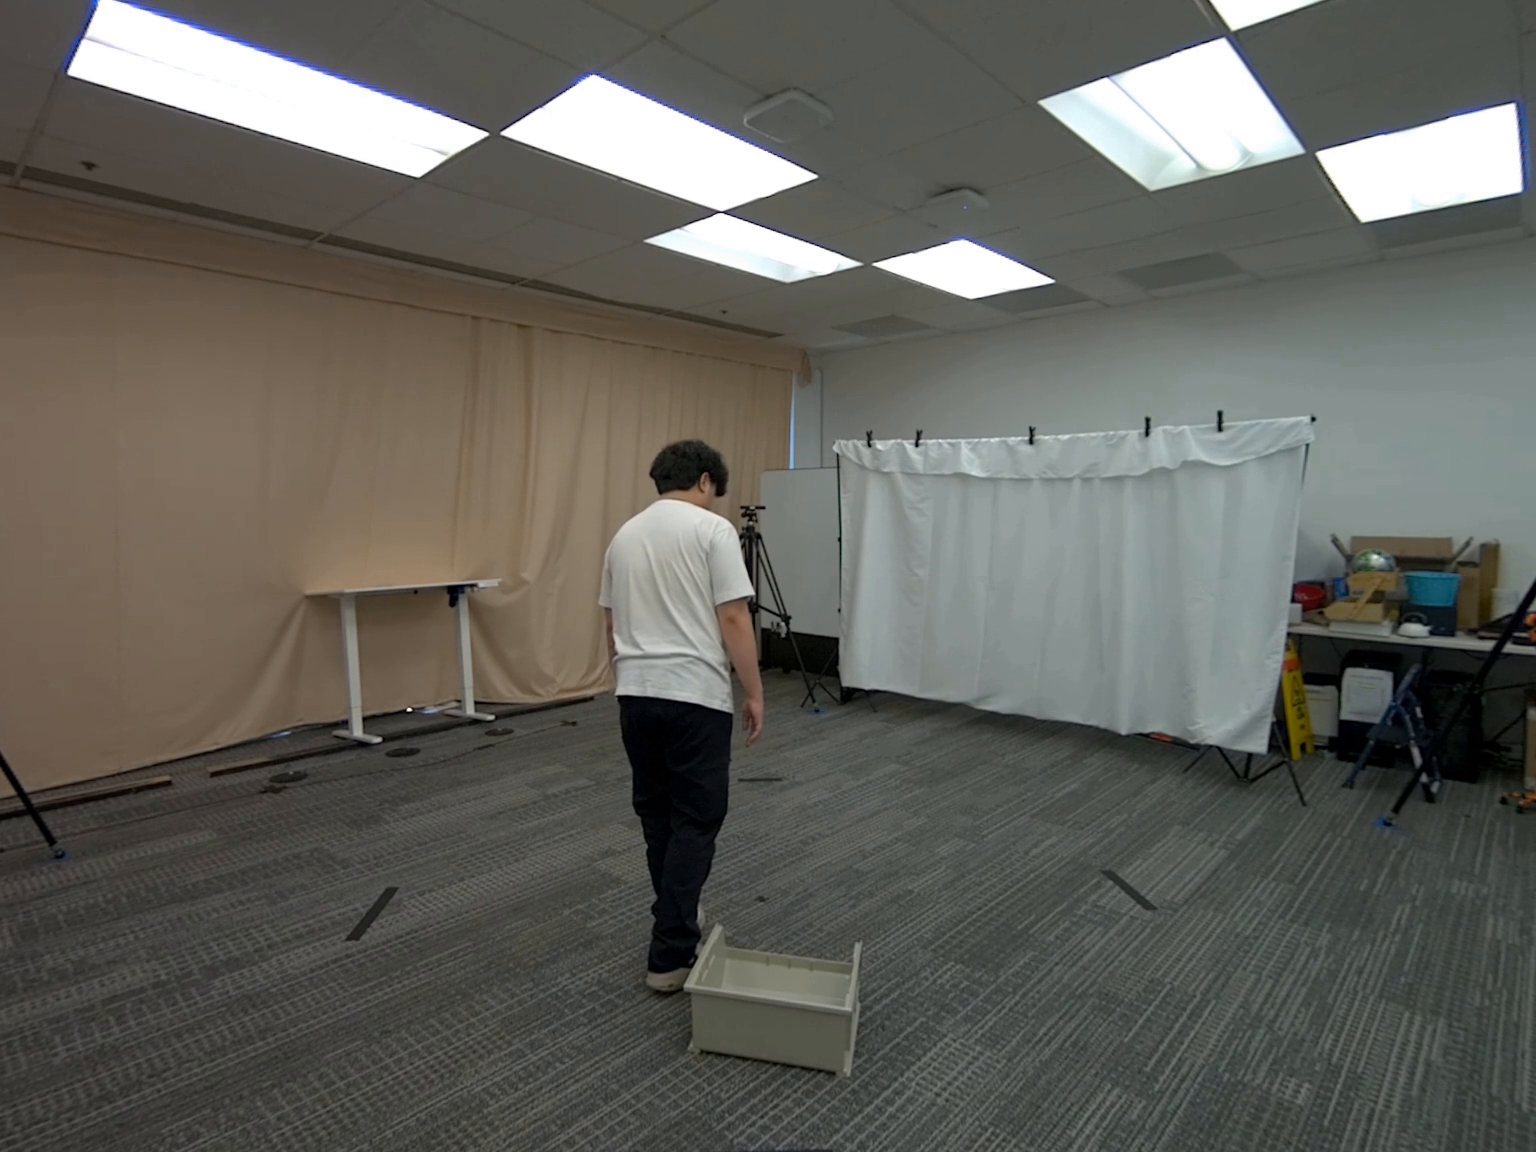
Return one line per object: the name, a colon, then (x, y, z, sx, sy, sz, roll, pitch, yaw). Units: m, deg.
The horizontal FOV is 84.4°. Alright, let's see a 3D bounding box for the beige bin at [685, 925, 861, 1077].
beige bin: (0.033, 1.118, 2.257, 0.428, 0.188, 0.373, 1, 5, 12)
